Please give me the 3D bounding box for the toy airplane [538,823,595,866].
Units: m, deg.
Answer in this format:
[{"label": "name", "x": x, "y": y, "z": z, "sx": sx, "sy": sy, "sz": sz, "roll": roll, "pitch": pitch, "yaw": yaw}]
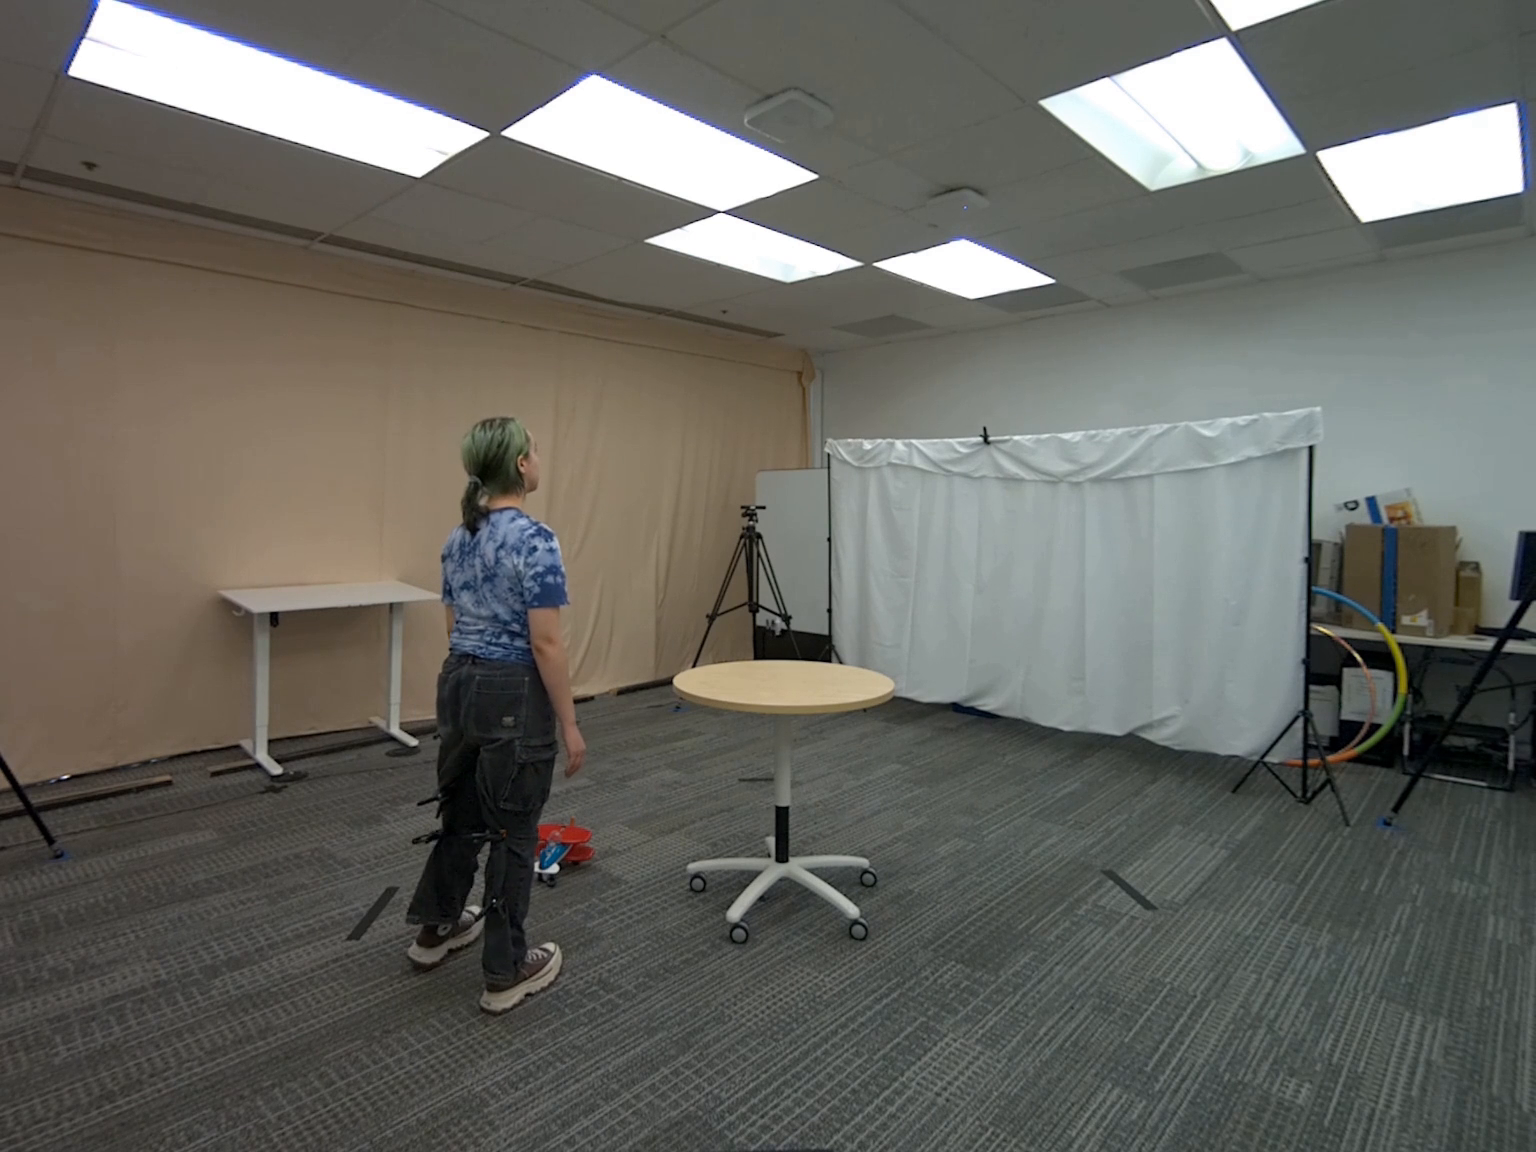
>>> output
[{"label": "toy airplane", "x": -0.786, "y": 1.058, "z": 3.216, "sx": 0.247, "sy": 0.156, "sz": 0.264, "roll": -2, "pitch": 3, "yaw": -16}]
